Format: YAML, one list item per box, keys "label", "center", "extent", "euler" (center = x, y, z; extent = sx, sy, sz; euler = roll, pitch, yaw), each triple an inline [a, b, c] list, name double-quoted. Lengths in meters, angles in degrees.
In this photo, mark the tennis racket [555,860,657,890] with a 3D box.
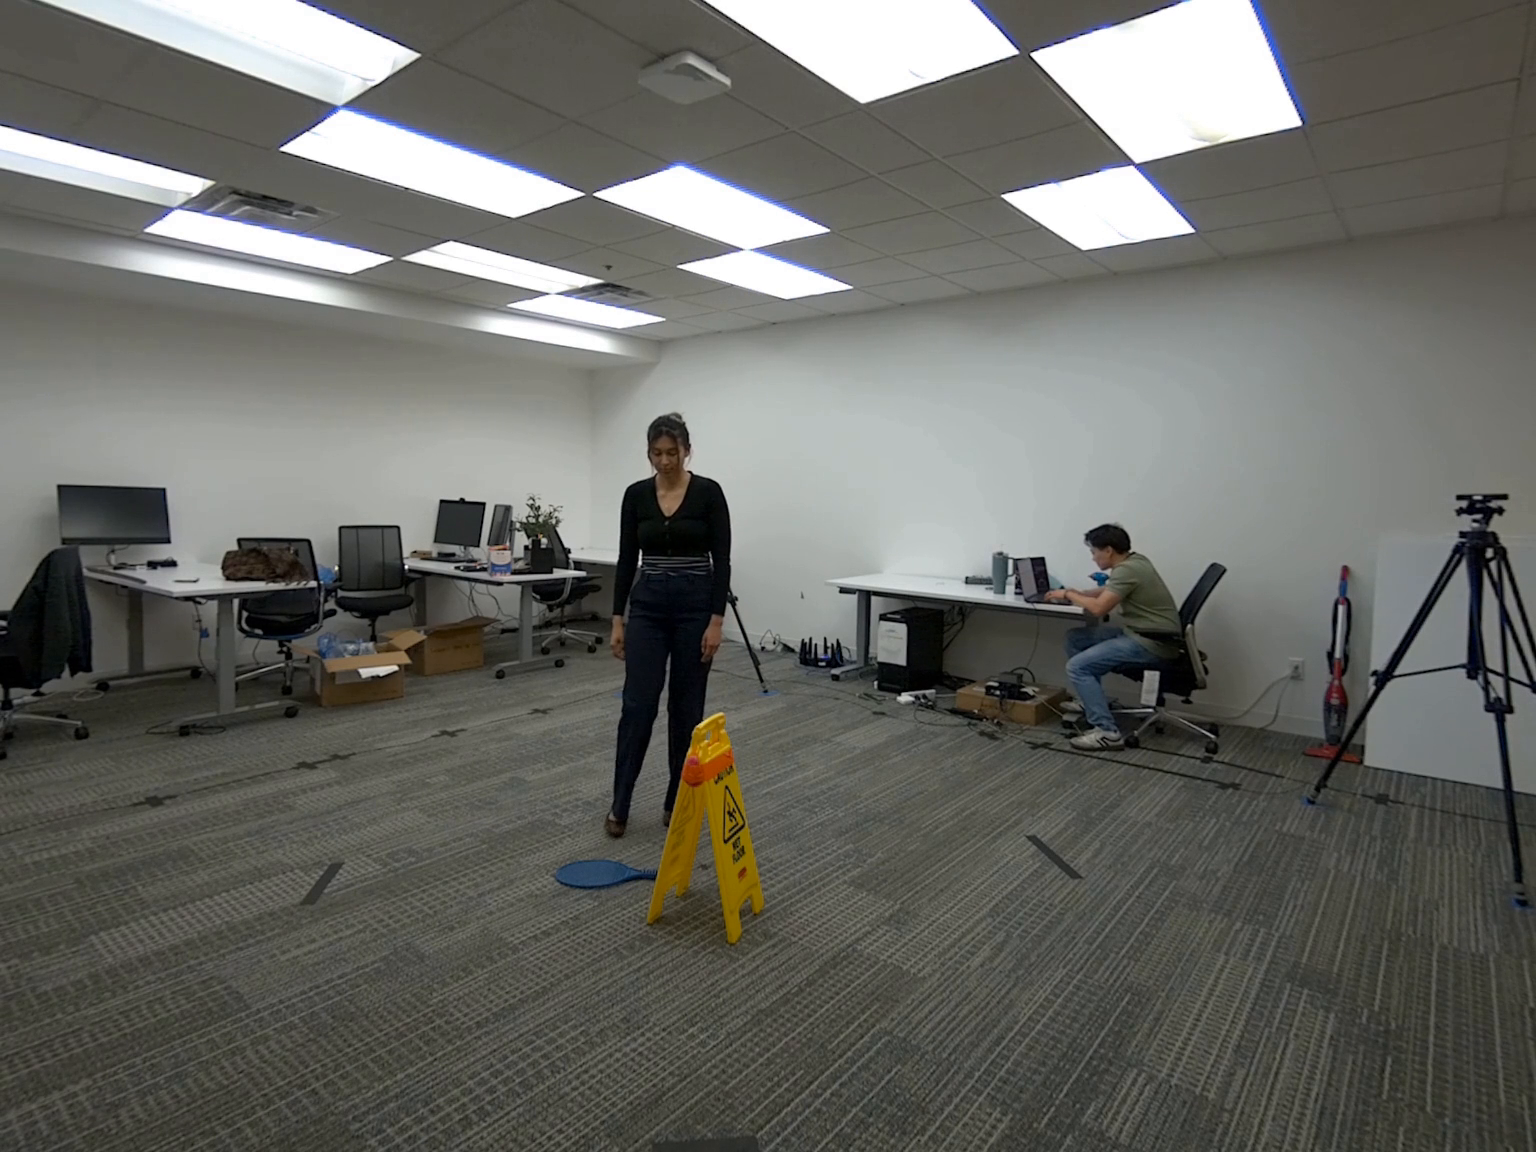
- label: "tennis racket"
  center: [-0.550, 1.050, 3.029]
  extent: [0.433, 0.031, 0.214]
  euler: [-1, 5, 1]
